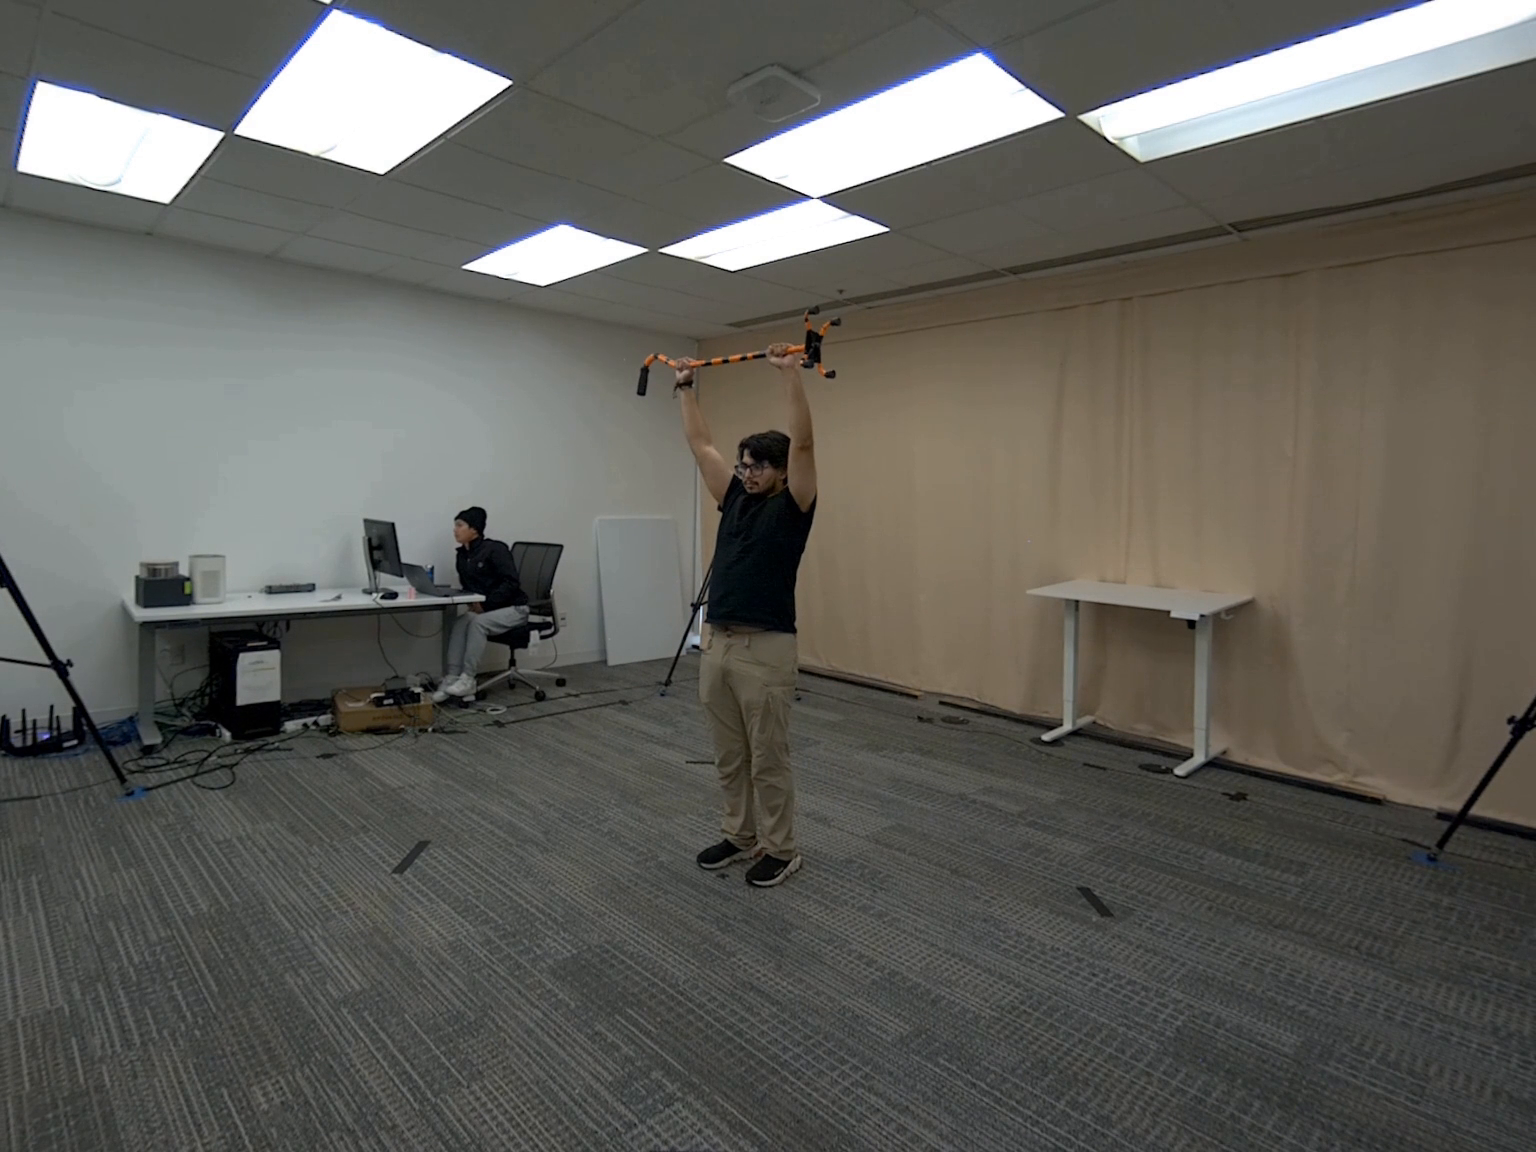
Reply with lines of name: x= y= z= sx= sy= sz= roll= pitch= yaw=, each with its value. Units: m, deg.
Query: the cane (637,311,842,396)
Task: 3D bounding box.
cane: x=-0.164 y=-0.786 z=3.030 sx=0.931 sy=0.207 sz=0.147 roll=5 pitch=-5 yaw=41
